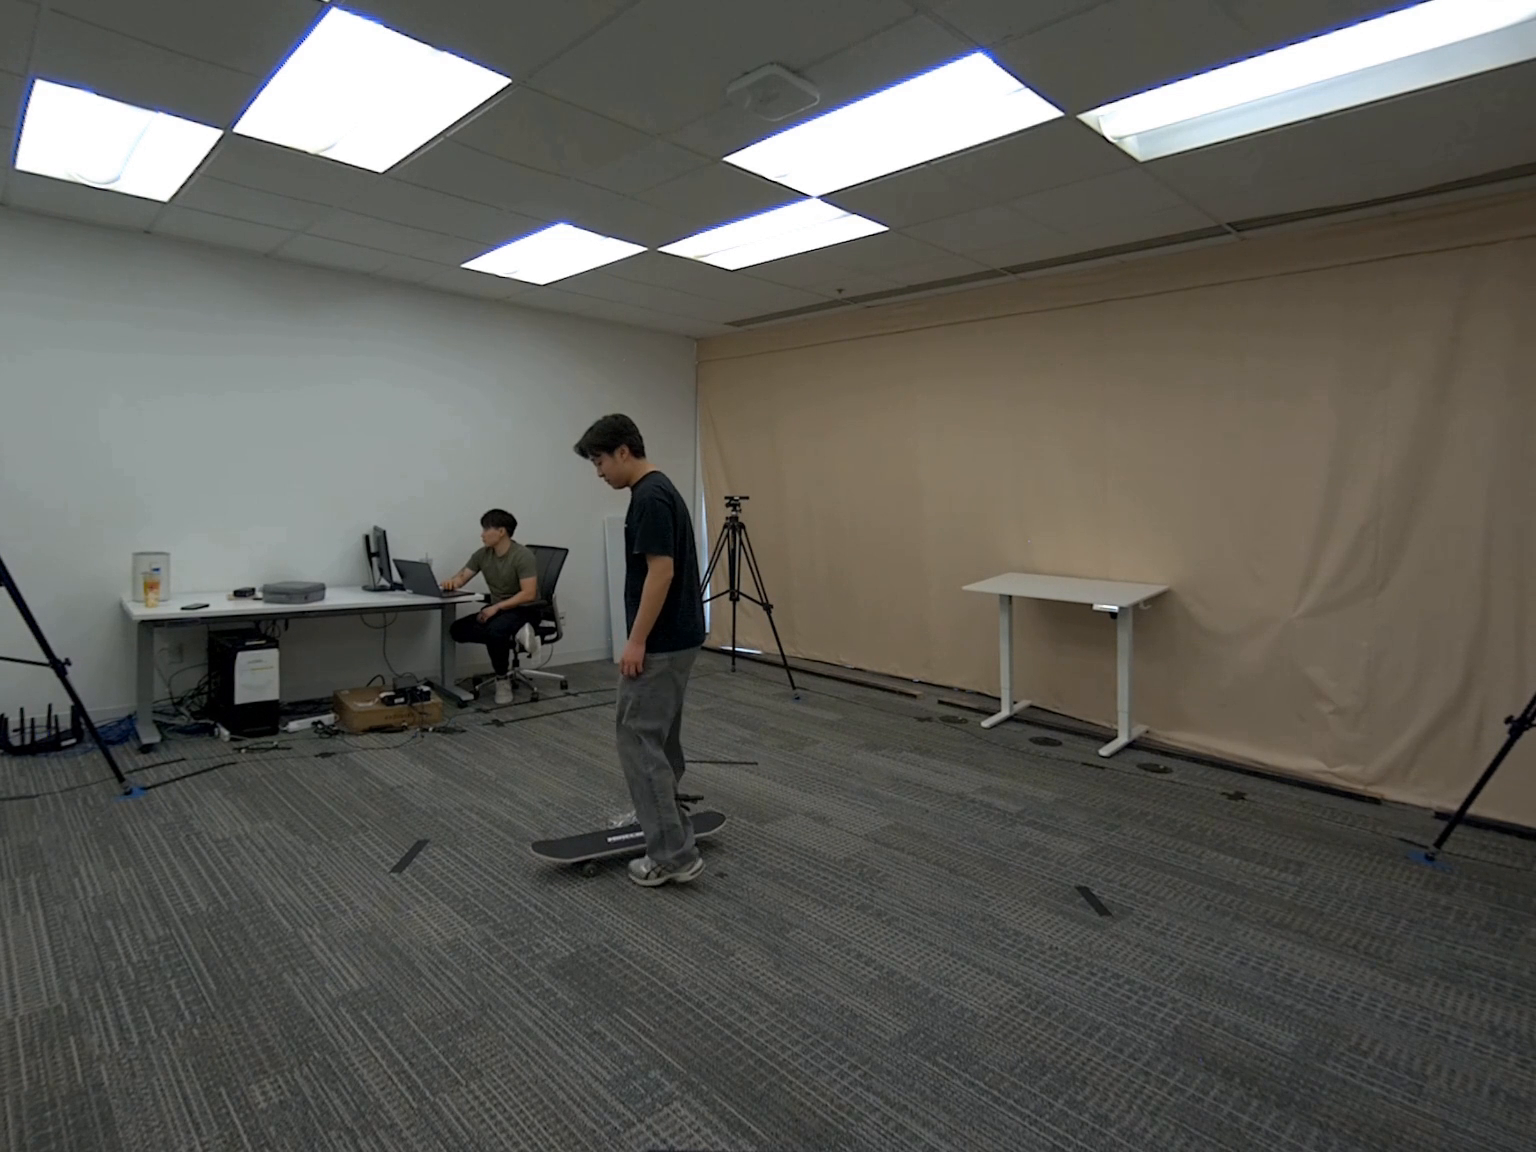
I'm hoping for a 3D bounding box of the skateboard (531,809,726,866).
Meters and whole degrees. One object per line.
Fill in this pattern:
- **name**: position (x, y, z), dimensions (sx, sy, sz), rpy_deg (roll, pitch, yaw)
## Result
- **skateboard**: position (-0.521, 1.024, 3.228), dimensions (0.770, 0.110, 0.198), rpy_deg (-2, 5, -29)
